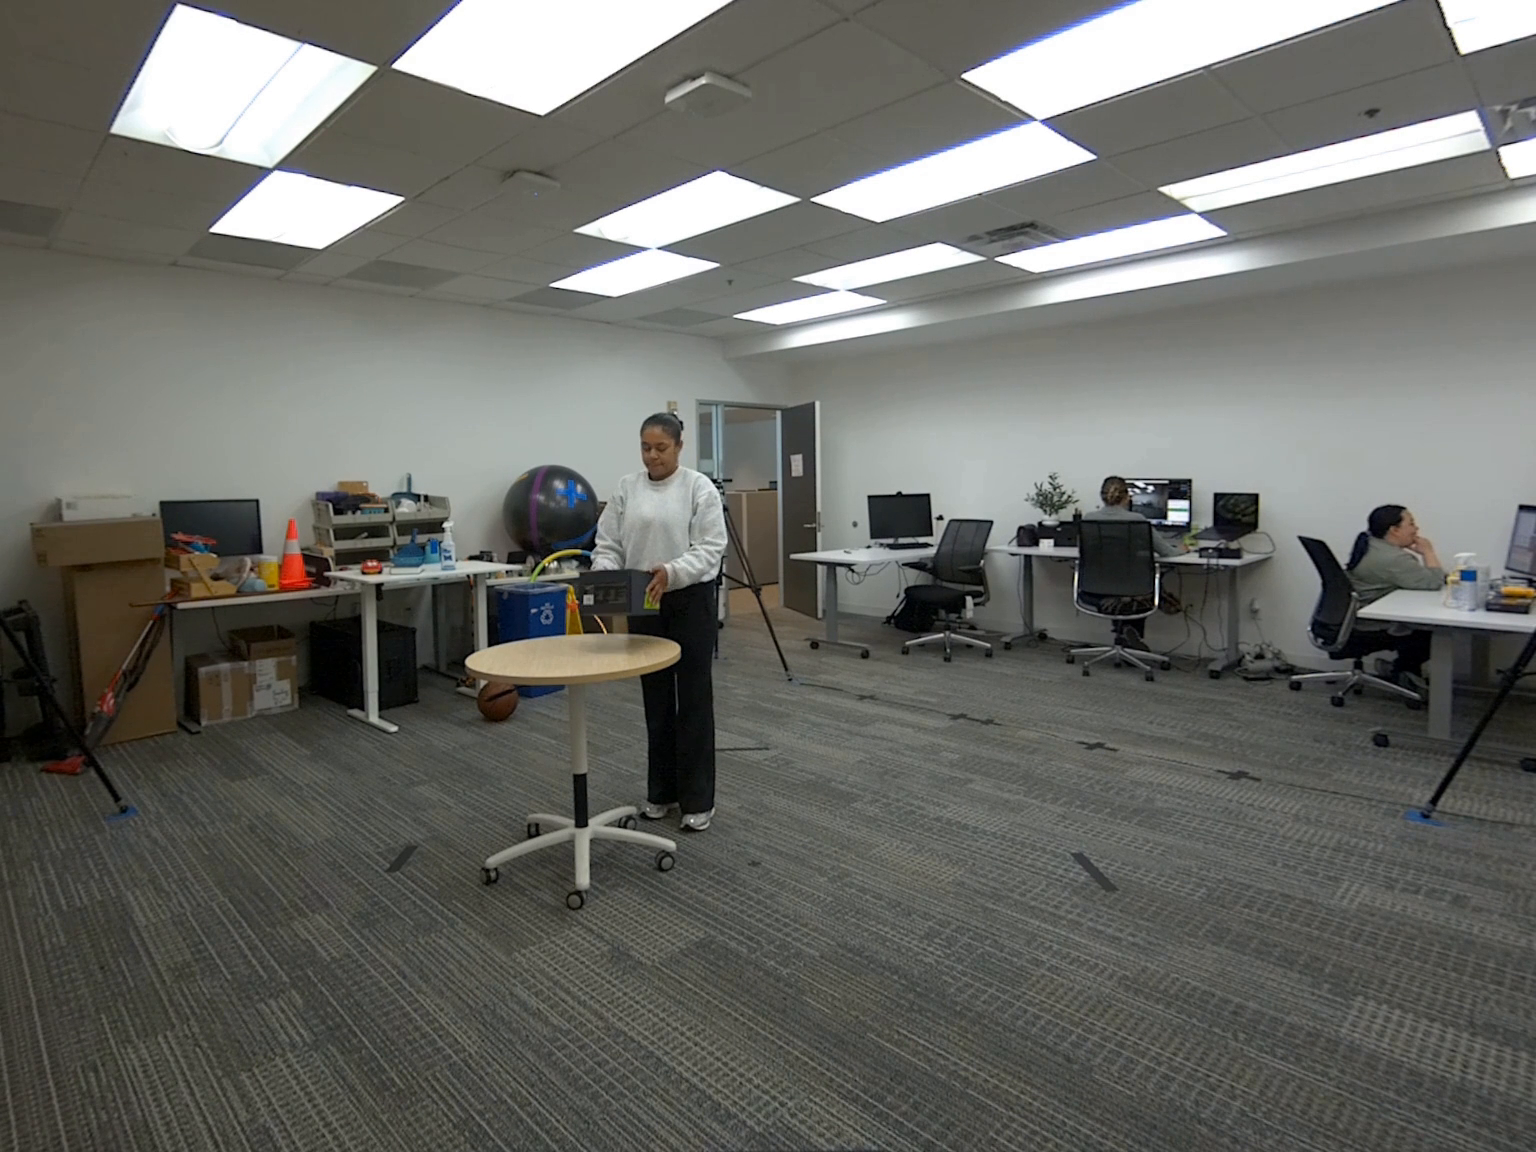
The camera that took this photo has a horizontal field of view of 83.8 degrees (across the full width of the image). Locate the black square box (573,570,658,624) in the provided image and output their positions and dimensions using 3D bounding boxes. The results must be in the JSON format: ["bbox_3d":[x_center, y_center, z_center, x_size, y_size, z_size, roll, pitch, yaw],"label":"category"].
[{"bbox_3d":[-0.537,0.062,3.135,0.220,0.157,0.223,-3,-5,17],"label":"black square box"}]
